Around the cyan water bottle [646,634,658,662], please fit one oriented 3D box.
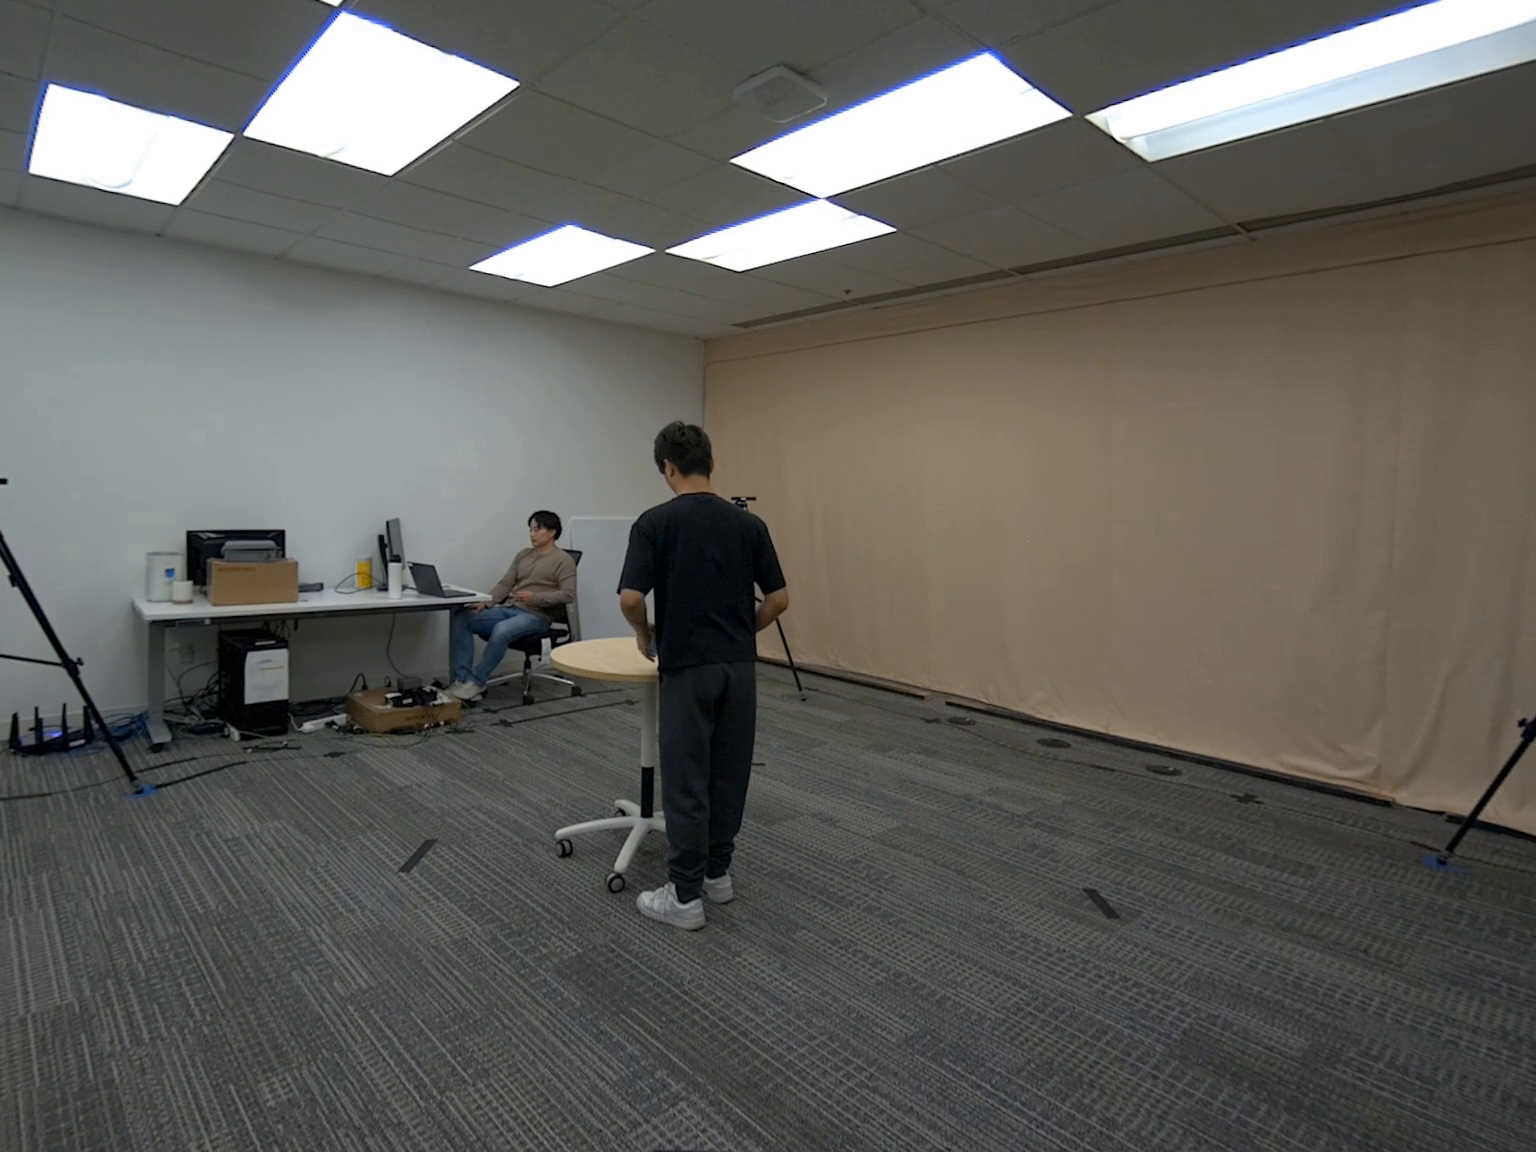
[{"bbox_3d":[-0.282,0.235,3.007,0.277,0.092,0.094,-1,5,-31],"label":"cyan water bottle"}]
